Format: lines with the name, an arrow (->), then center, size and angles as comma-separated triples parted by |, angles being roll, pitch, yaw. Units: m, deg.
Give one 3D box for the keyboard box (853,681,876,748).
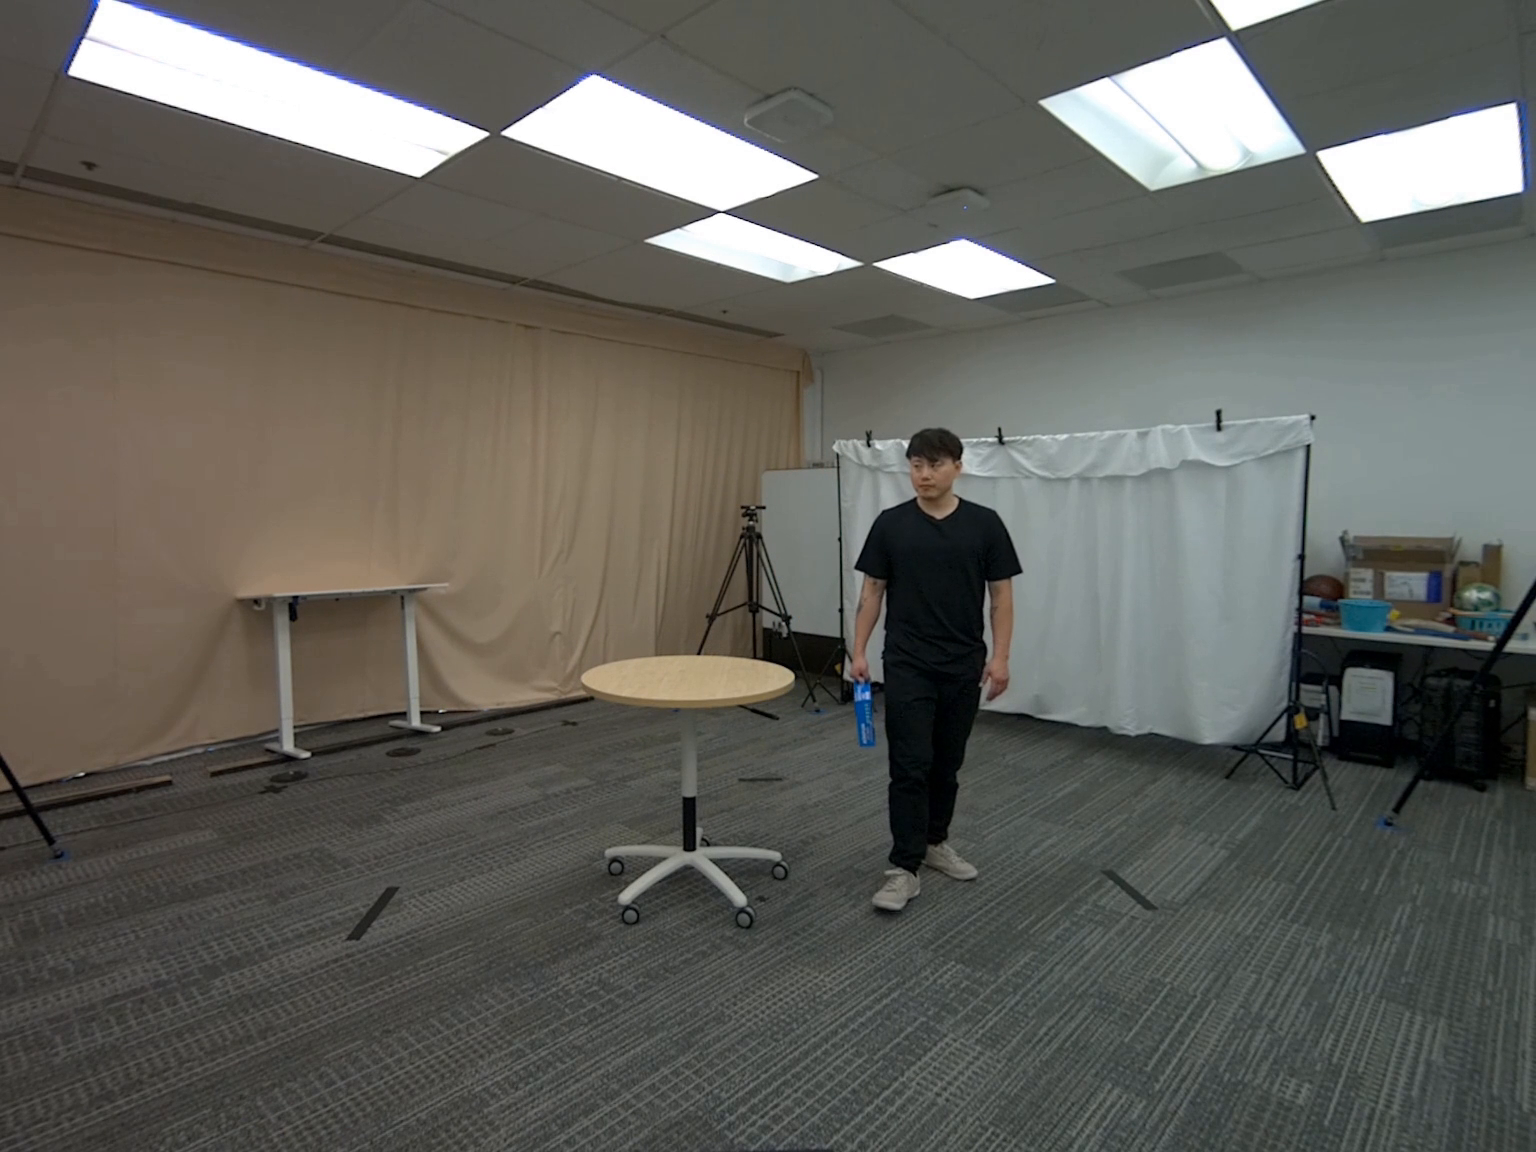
keyboard box -> 0.363, 0.486, 3.179 | 0.059, 0.175, 0.436 | -6, 8, 6
